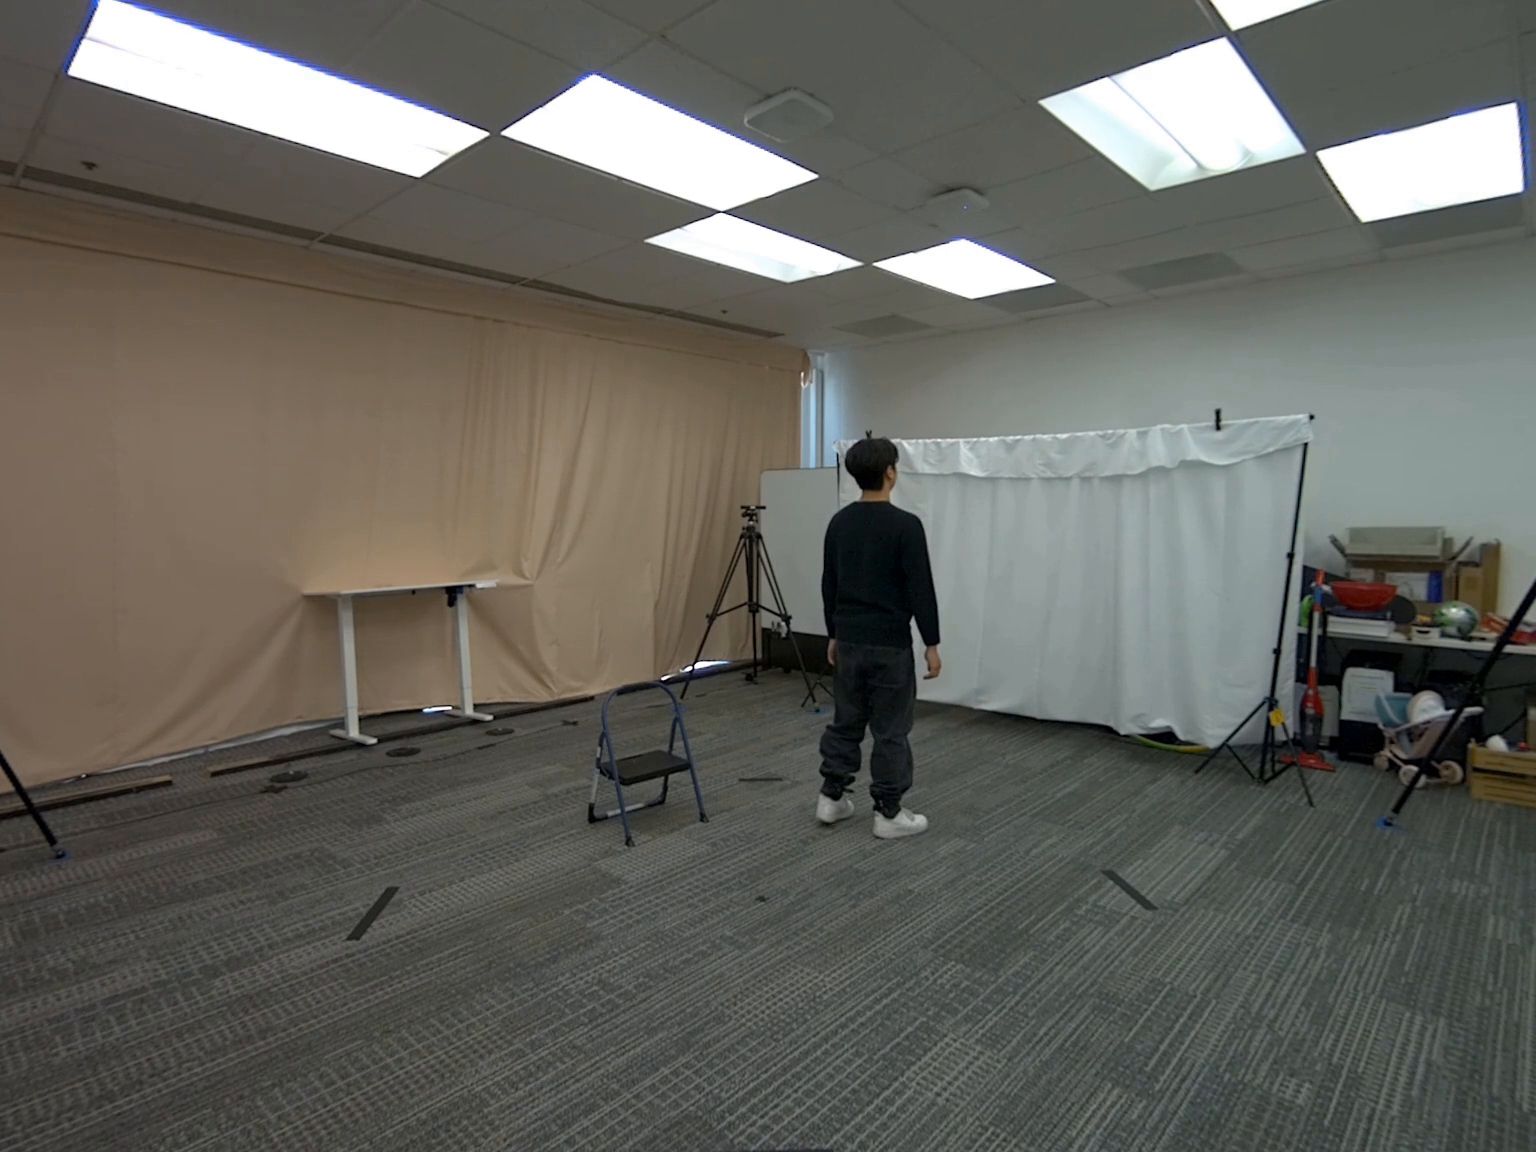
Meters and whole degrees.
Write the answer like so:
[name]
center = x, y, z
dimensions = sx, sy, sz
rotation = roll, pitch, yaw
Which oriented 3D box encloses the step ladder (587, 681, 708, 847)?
[step ladder]
center = -0.530, 0.788, 3.708
dimensions = 0.417, 0.605, 0.361
rotation = -3, 4, -41
